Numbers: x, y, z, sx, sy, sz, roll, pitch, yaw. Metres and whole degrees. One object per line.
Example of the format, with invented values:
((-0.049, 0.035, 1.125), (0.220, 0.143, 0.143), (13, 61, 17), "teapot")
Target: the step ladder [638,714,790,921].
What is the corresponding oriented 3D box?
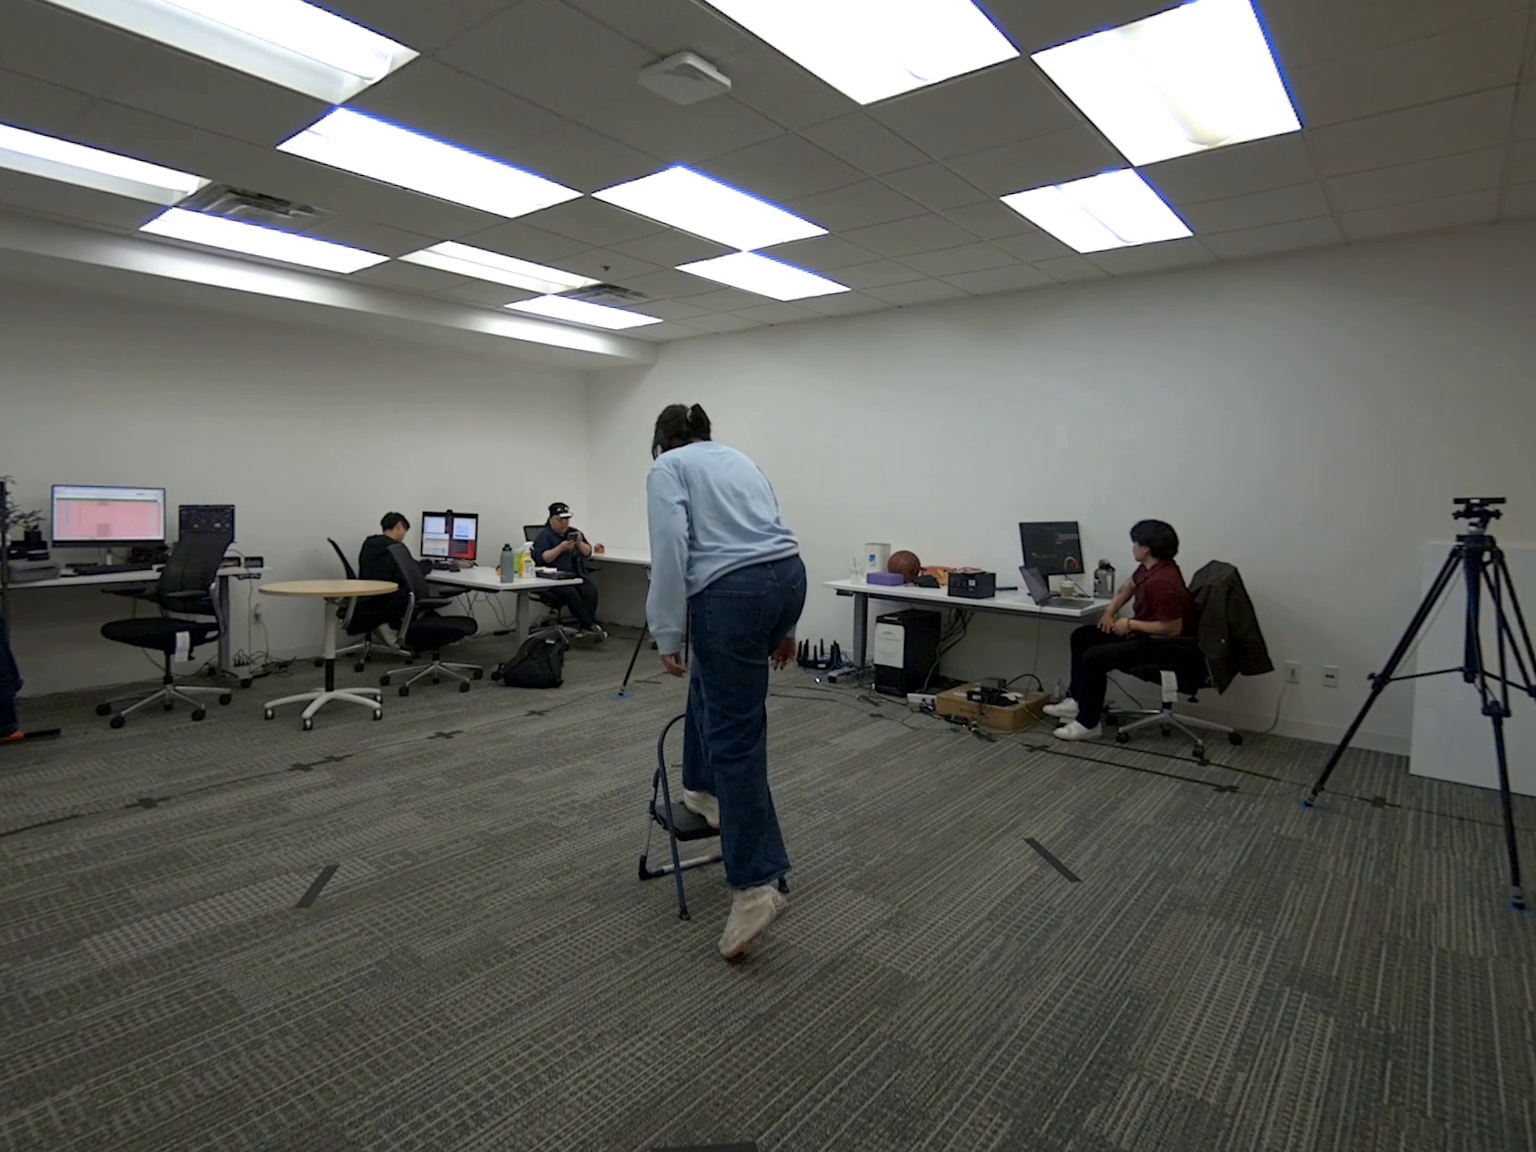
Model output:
((-0.201, 0.783, 2.975), (0.418, 0.604, 0.360), (-1, 4, -34), "step ladder")
